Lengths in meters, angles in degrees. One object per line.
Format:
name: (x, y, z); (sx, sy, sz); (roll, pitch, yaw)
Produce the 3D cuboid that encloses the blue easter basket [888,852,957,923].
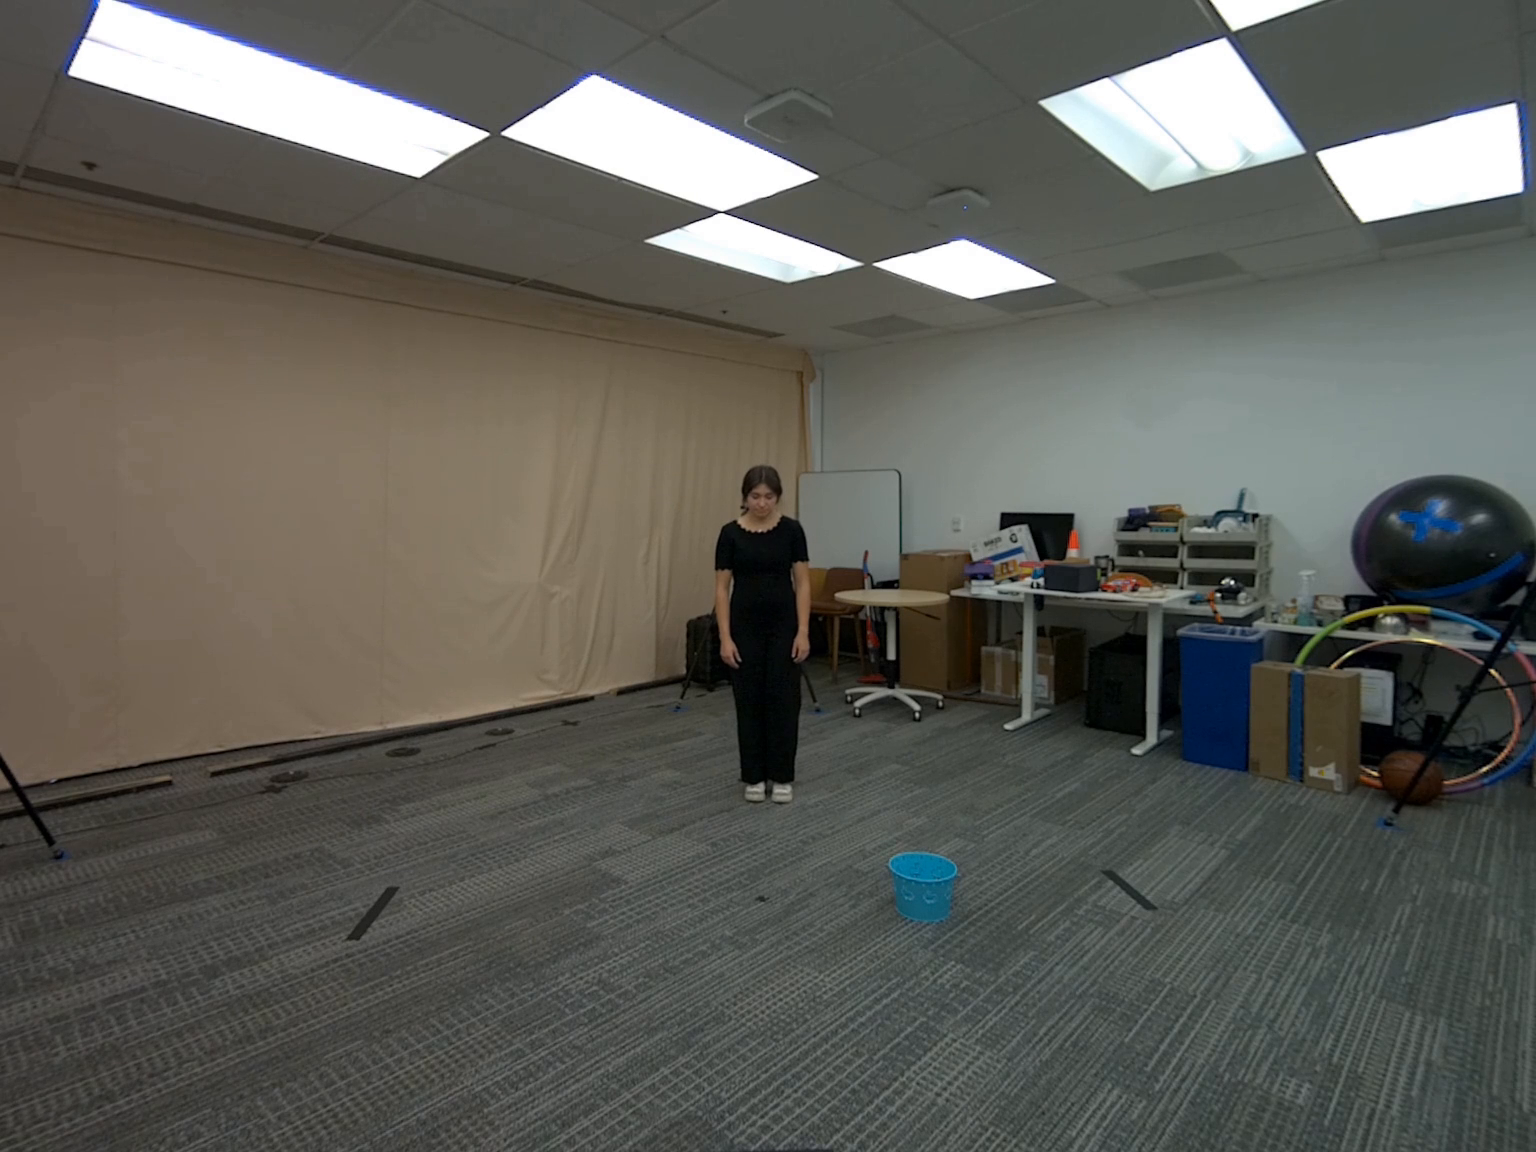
blue easter basket: (0.543, 1.070, 2.895); (0.243, 0.155, 0.244); (0, 4, -2)
